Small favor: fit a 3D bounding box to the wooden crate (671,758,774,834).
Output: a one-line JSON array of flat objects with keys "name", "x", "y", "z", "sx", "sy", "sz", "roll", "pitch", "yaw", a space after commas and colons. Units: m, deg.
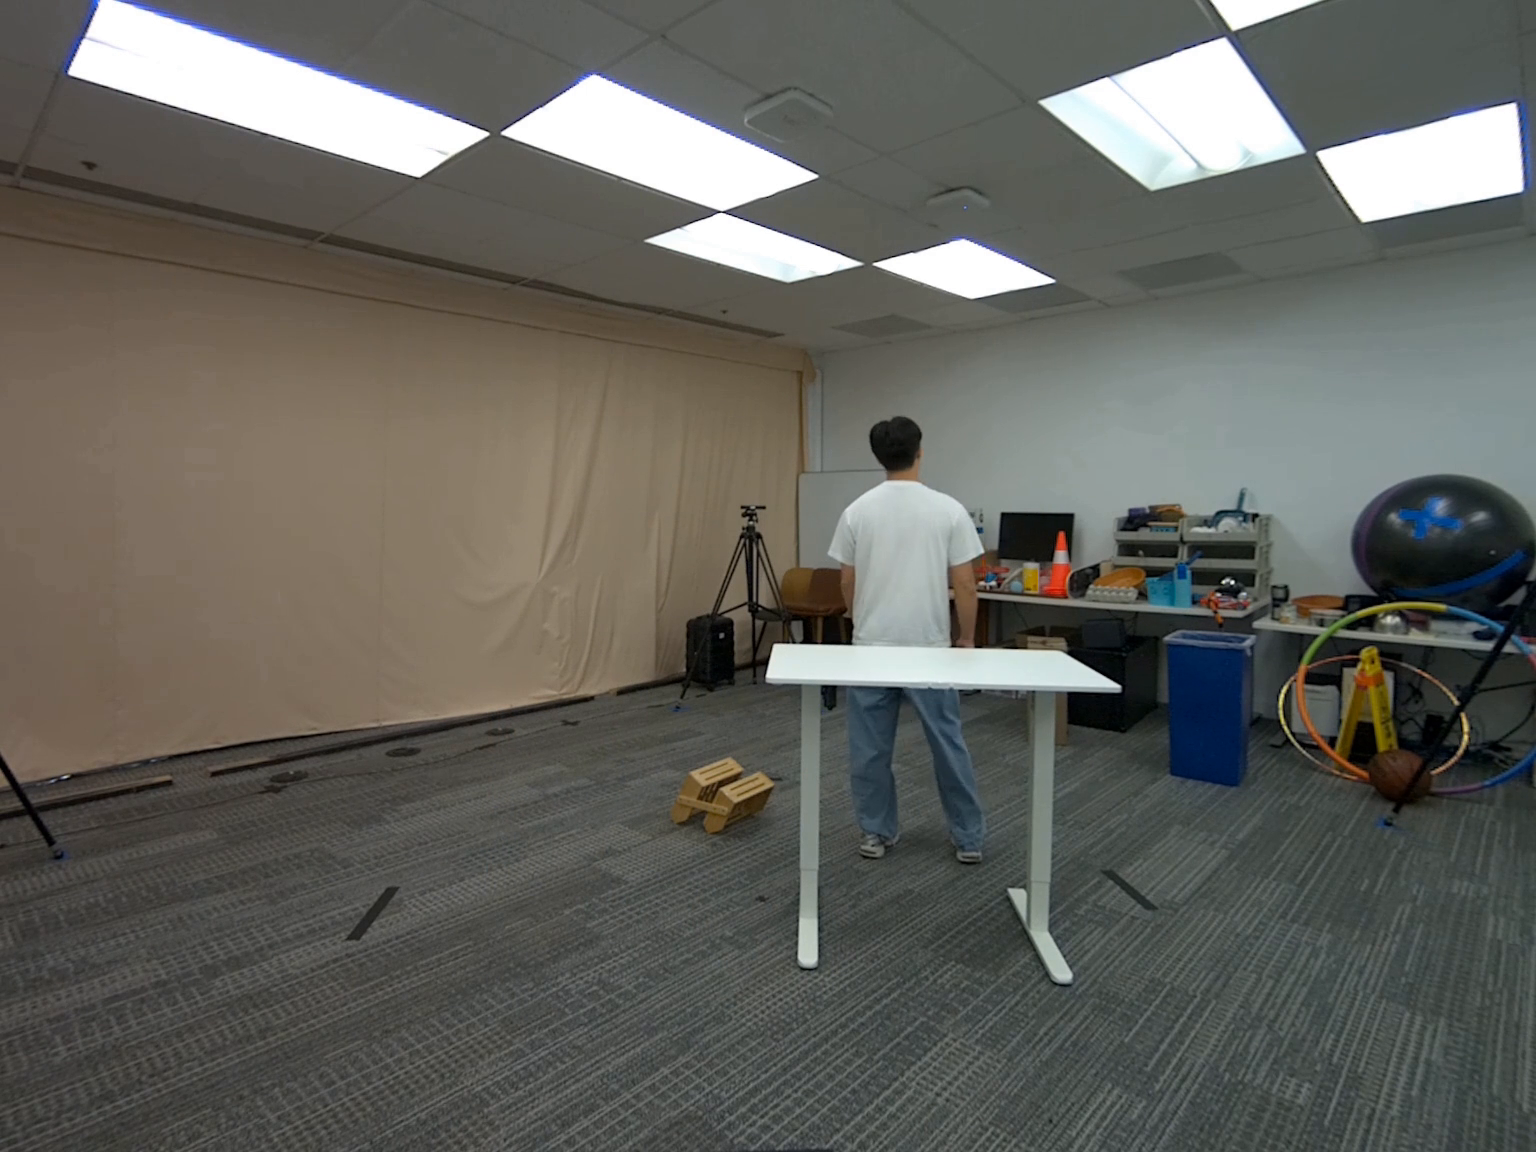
[{"name": "wooden crate", "x": -0.198, "y": 0.995, "z": 3.719, "sx": 0.282, "sy": 0.301, "sz": 0.315, "roll": 35, "pitch": 23, "yaw": 30}]
